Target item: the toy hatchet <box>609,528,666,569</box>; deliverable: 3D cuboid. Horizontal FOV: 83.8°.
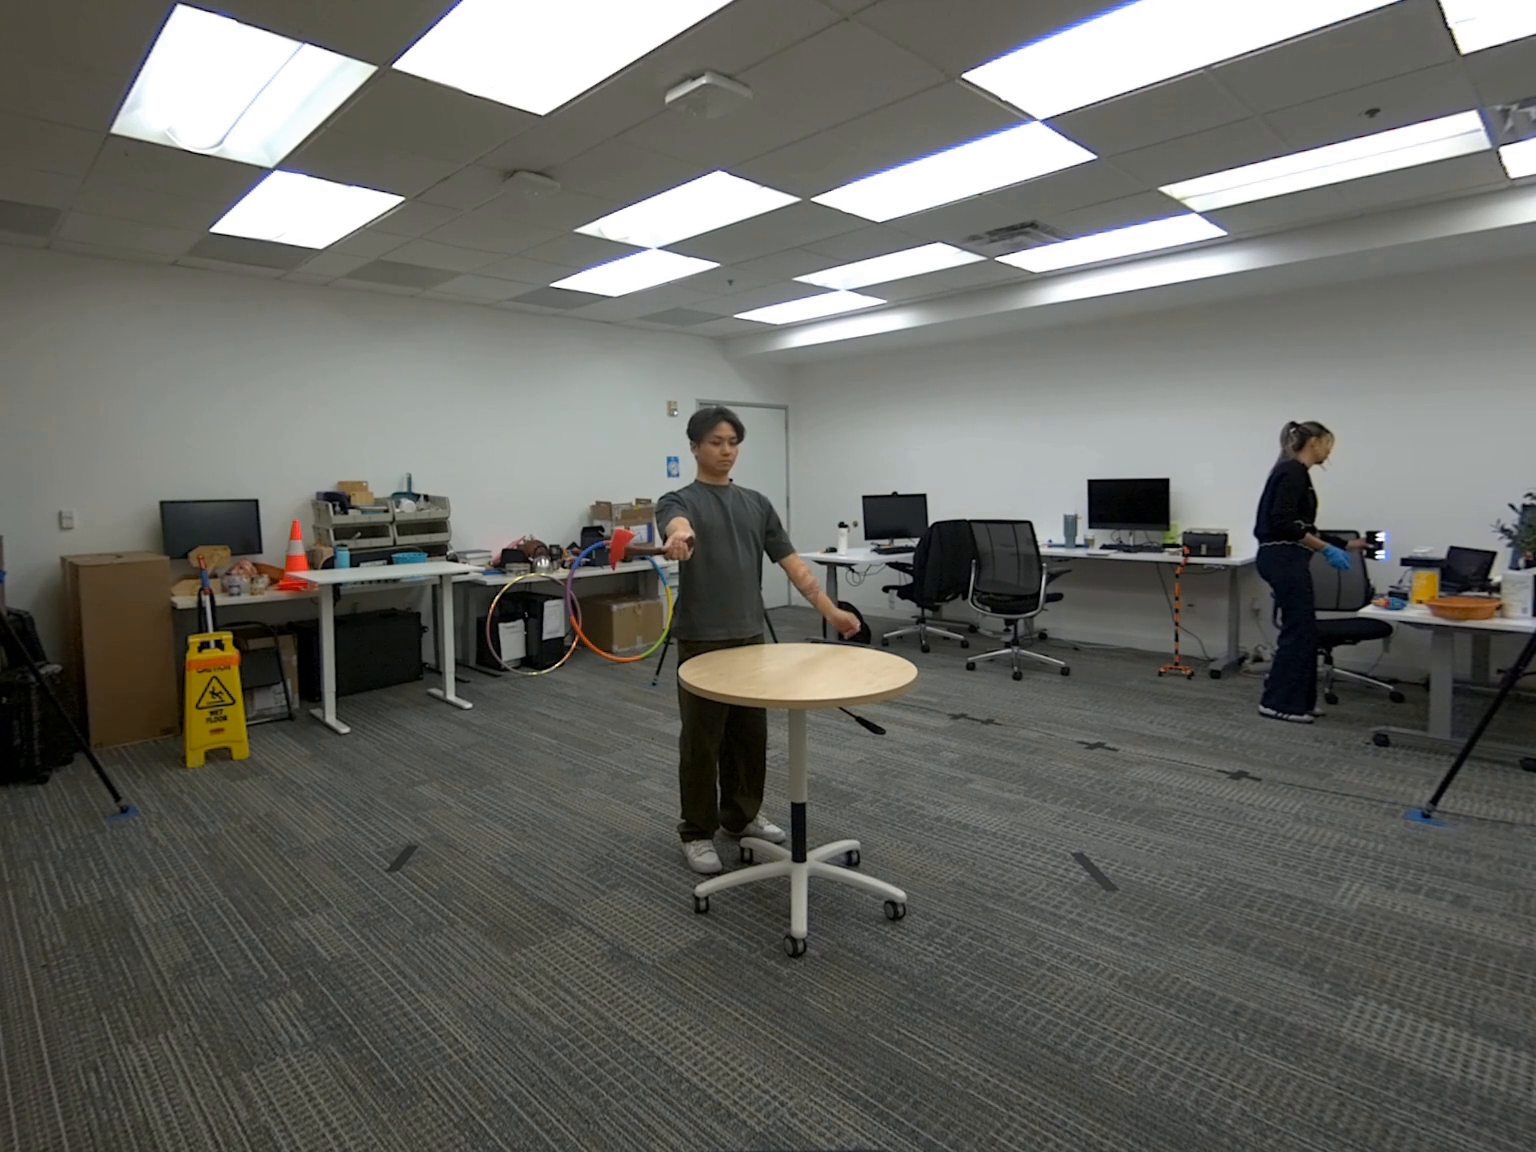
[{"bbox_3d":[-0.342,-0.131,2.542,0.268,0.129,0.030,-13,18,-10],"label":"toy hatchet"}]
